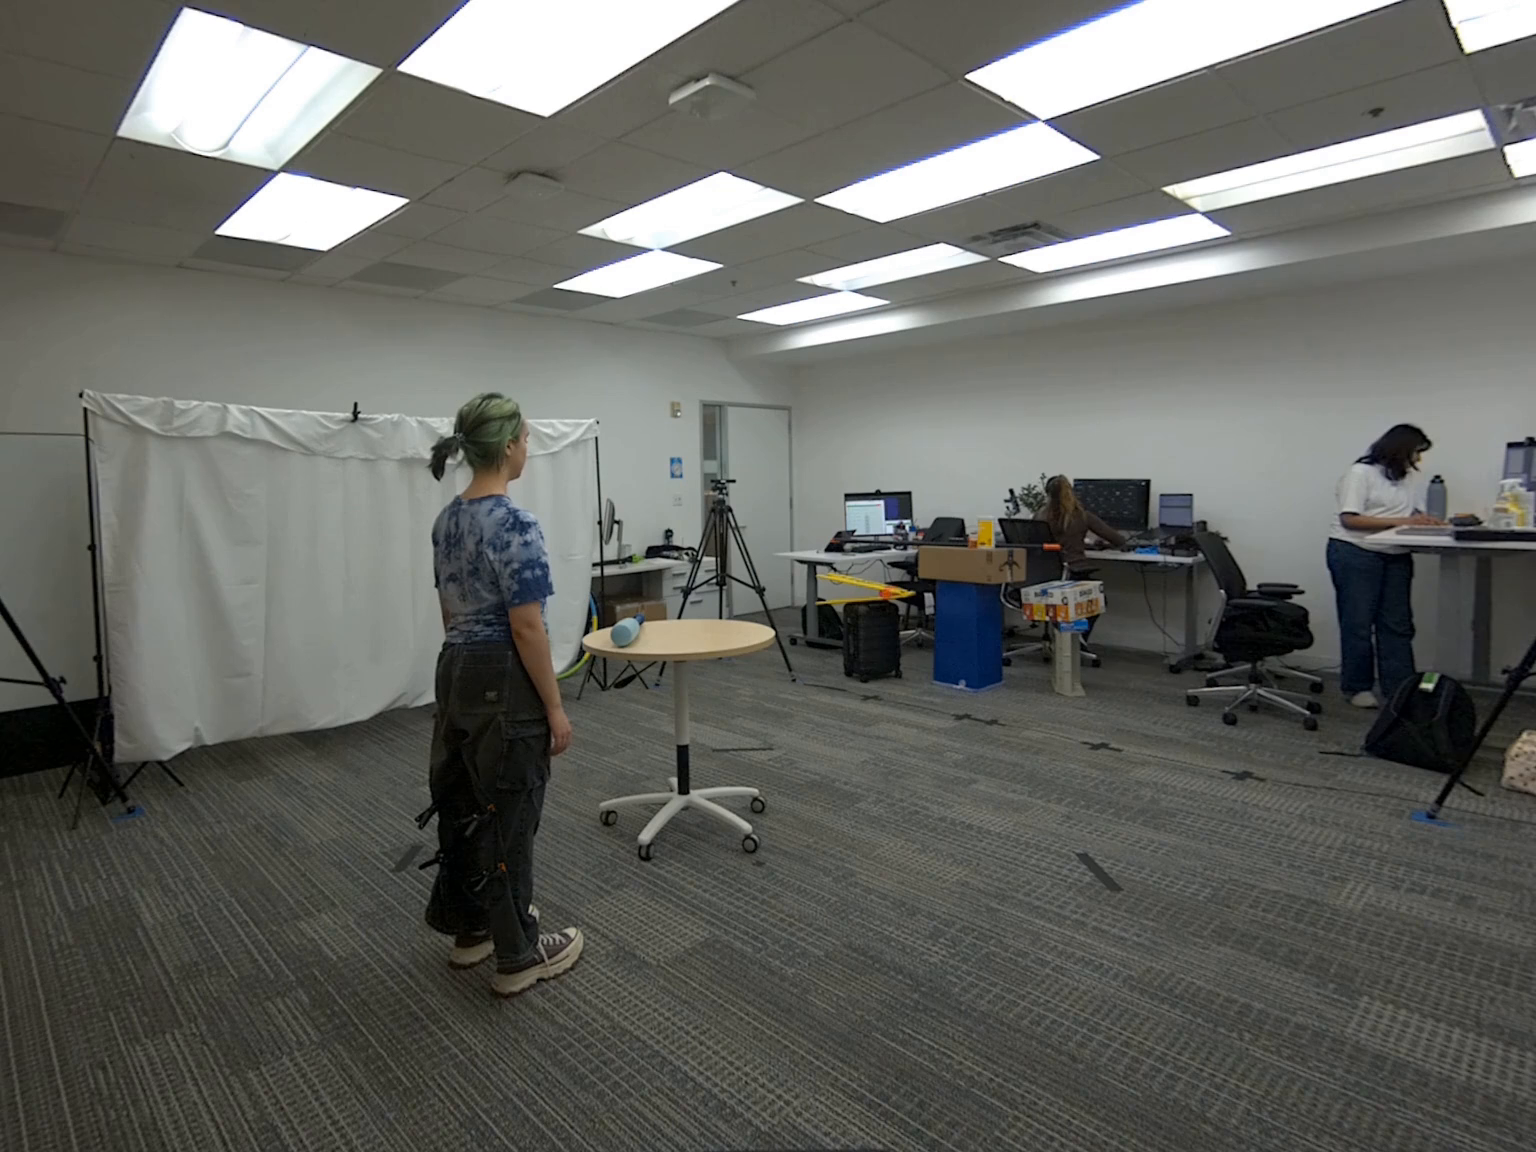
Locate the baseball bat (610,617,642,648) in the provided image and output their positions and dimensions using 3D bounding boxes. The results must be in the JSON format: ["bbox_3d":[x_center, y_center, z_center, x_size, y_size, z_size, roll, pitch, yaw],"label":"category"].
[{"bbox_3d":[-0.550,0.205,3.417,0.089,0.089,0.545,-1,4,-3],"label":"baseball bat"}]
